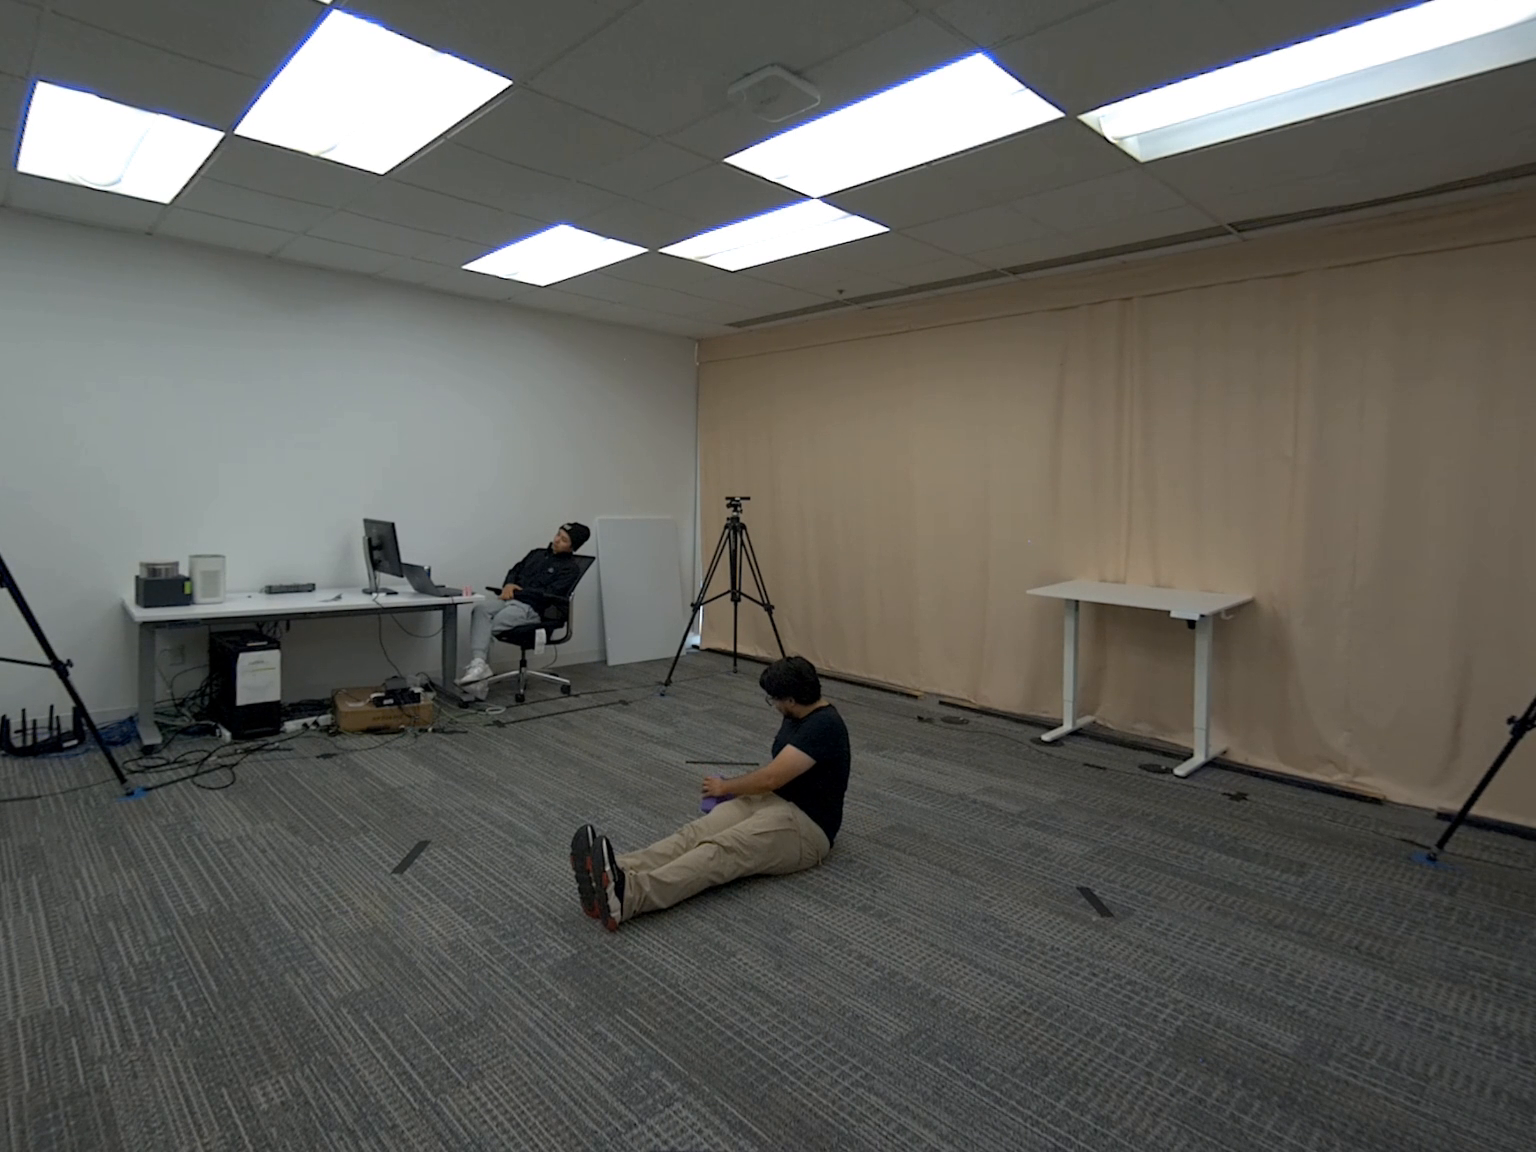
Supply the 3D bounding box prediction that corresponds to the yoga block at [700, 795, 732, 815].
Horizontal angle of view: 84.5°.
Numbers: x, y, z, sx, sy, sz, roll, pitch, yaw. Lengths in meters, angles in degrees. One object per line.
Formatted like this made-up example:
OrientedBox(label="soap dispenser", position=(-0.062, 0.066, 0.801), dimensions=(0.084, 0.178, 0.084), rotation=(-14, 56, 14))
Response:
OrientedBox(label="yoga block", position=(-0.182, 0.937, 3.518), dimensions=(0.078, 0.151, 0.222), rotation=(0, -27, 23))
